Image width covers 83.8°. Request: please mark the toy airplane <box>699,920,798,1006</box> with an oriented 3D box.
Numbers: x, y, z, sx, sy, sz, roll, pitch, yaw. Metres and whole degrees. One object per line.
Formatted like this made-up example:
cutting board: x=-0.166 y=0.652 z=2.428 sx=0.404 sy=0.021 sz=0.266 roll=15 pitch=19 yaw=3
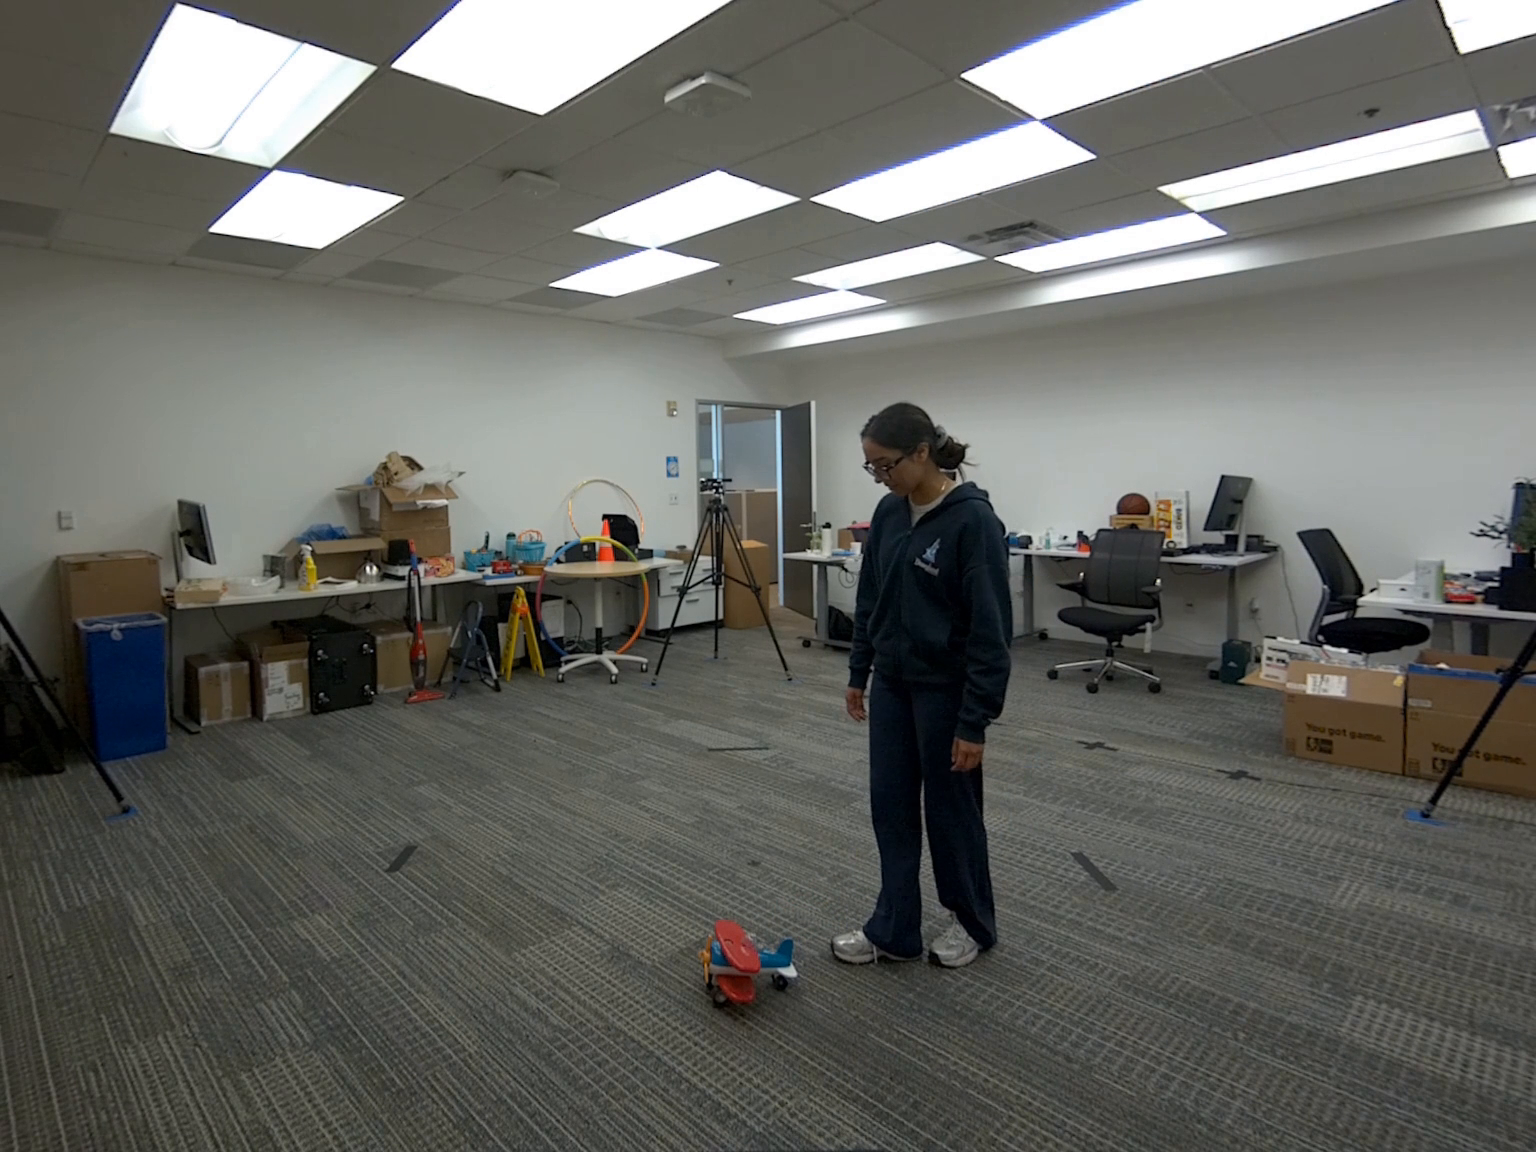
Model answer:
toy airplane: x=-0.059 y=1.058 z=2.346 sx=0.253 sy=0.155 sz=0.259 roll=-10 pitch=10 yaw=-43
